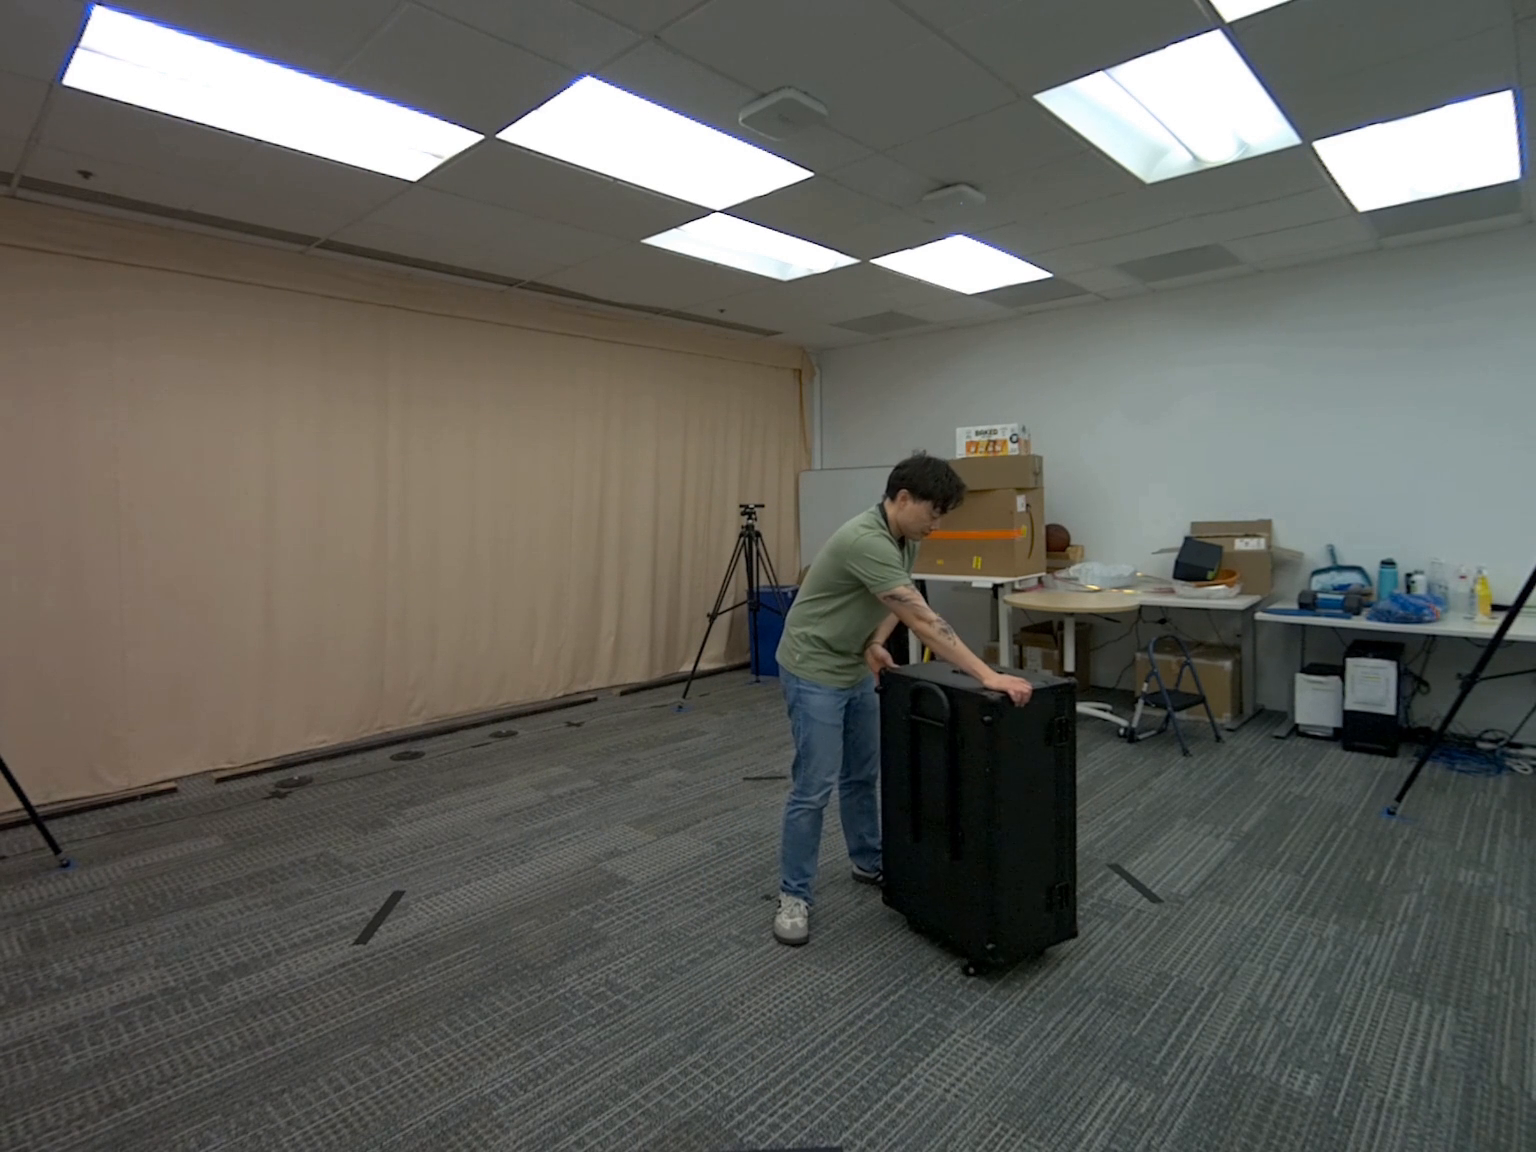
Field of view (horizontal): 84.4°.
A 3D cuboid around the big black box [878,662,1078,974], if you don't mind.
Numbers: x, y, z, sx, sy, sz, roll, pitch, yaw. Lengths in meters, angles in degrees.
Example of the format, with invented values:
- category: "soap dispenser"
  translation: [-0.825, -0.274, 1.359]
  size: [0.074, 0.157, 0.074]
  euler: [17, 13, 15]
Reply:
- category: "big black box"
  translation: [0.652, 0.734, 2.630]
  size: [0.386, 0.859, 0.537]
  euler: [-4, 4, -31]
